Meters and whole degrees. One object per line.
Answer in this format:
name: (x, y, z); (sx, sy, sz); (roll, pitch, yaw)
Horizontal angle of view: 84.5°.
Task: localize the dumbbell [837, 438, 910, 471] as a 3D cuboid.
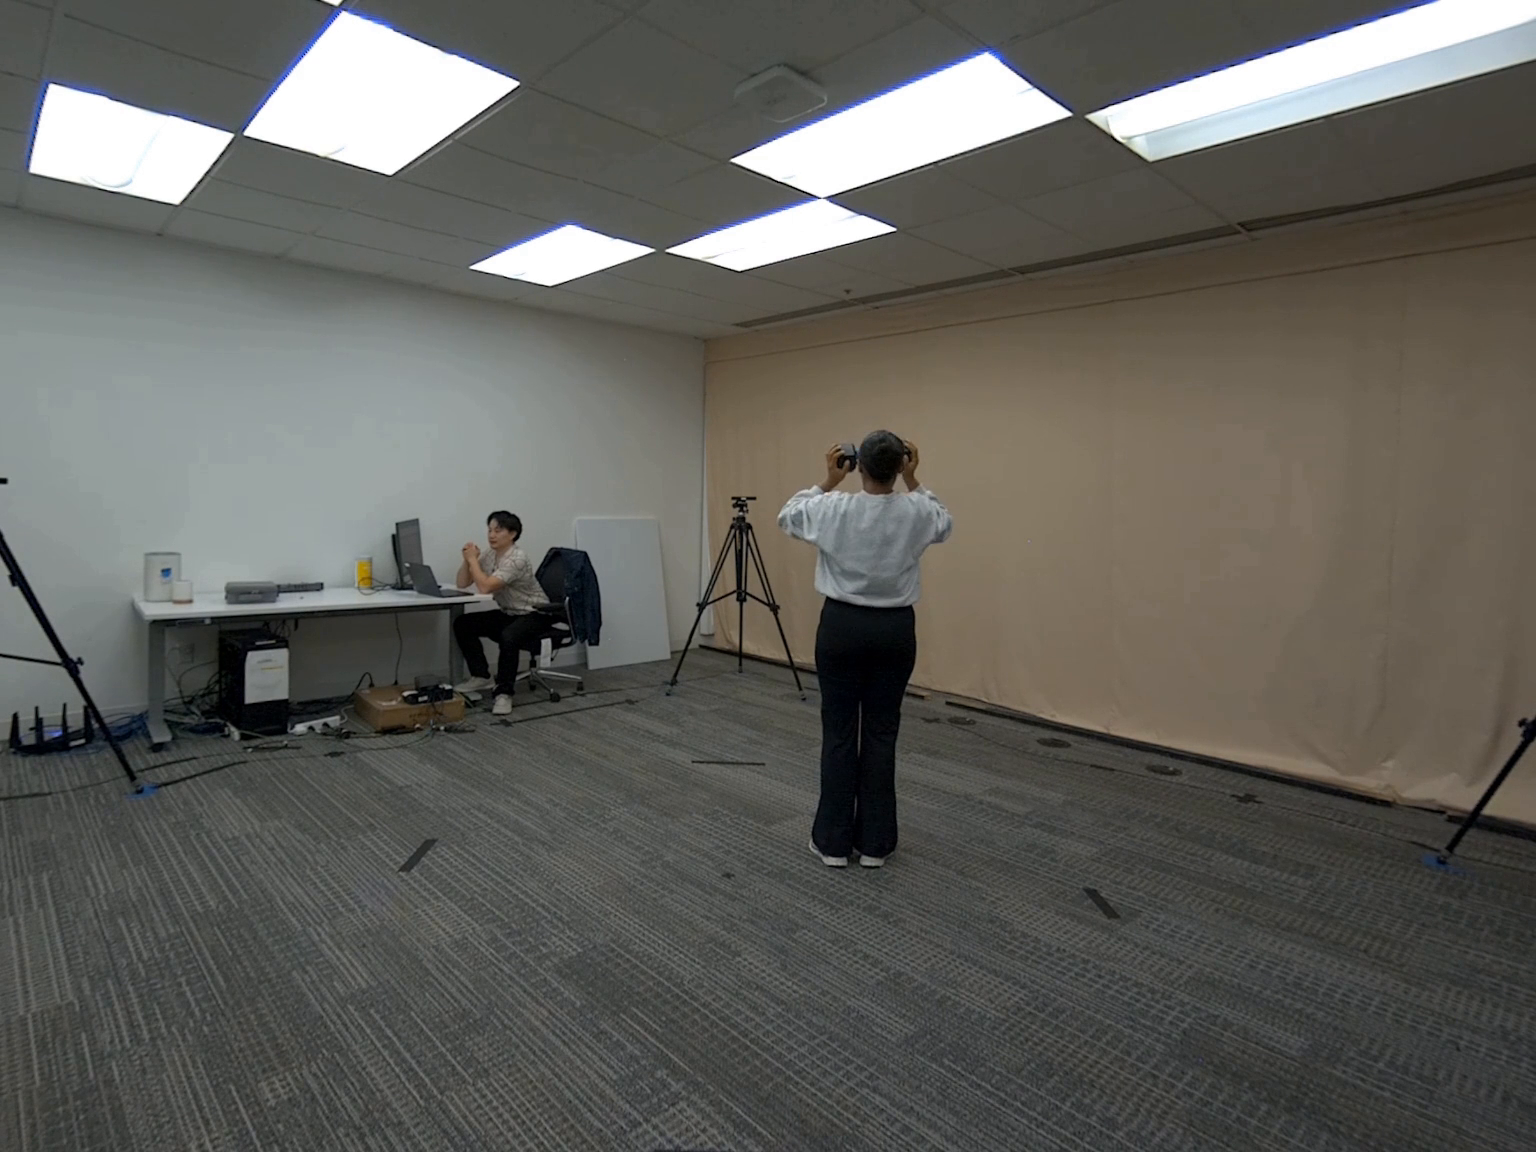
dumbbell: (0.402, -0.474, 3.295); (0.293, 0.126, 0.106); (-3, -36, 0)
